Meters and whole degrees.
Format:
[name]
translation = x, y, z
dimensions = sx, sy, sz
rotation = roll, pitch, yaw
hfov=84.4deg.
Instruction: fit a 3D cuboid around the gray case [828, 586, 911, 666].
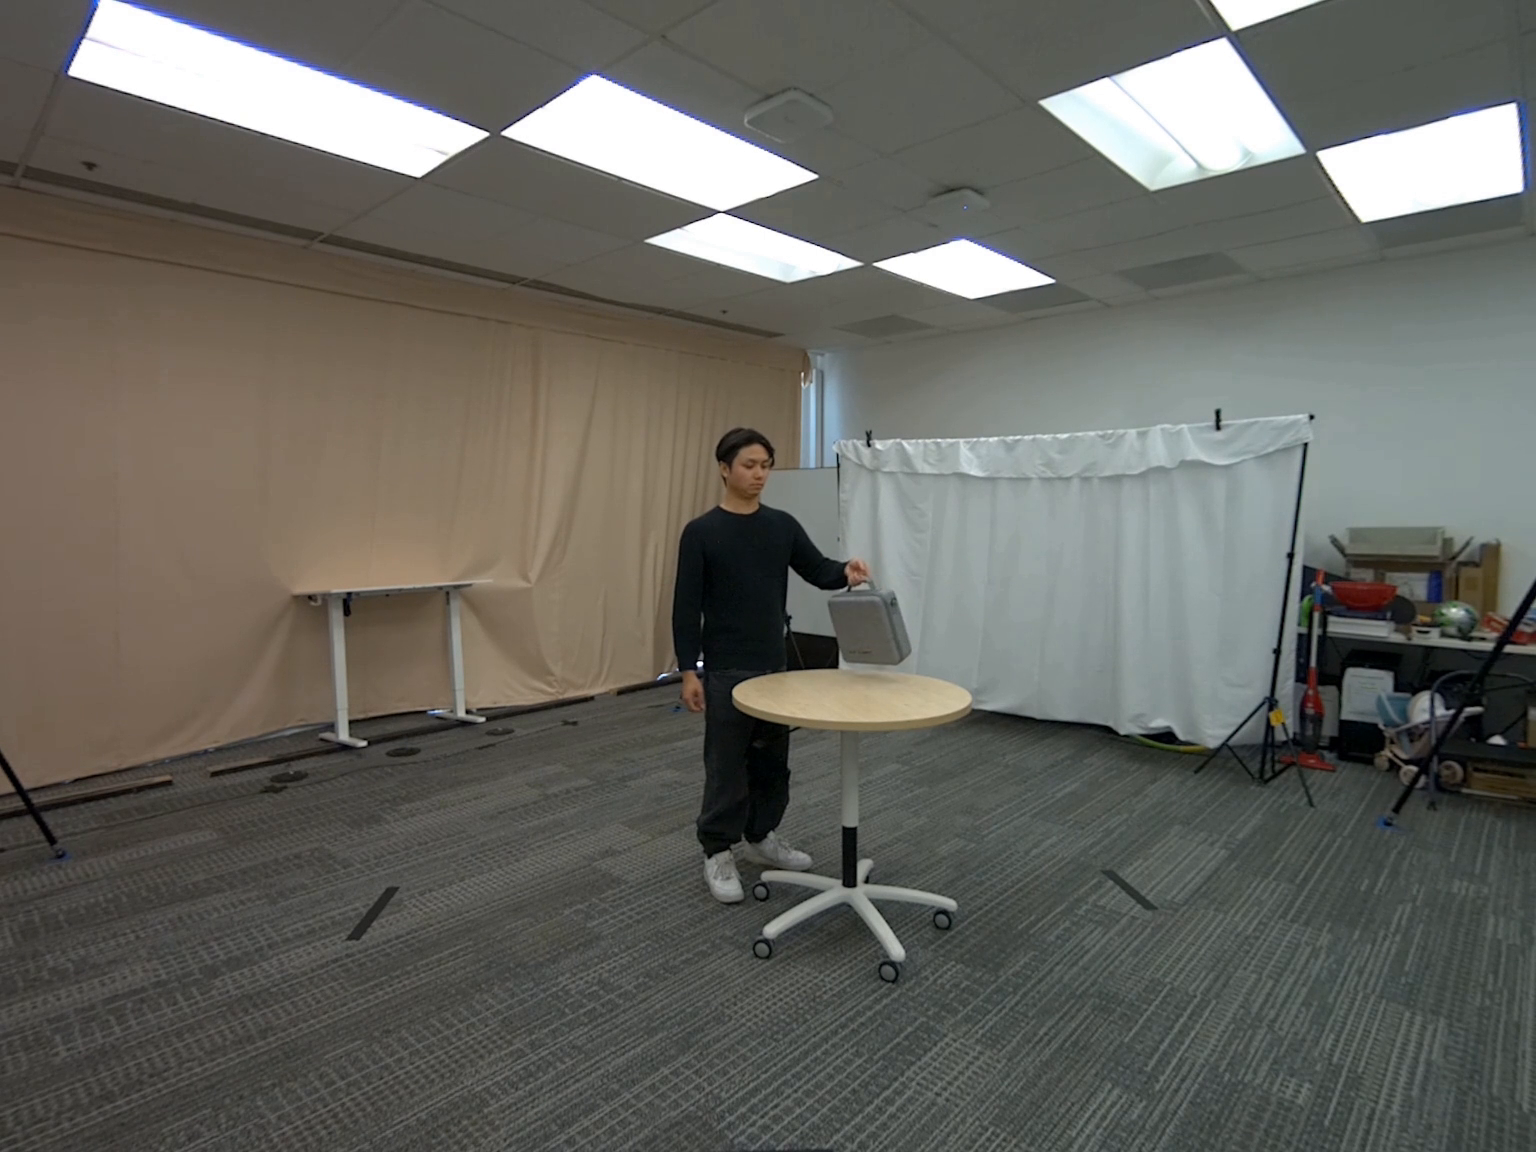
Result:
[gray case]
translation = 0.346, 0.173, 2.913
dimensions = 0.102, 0.258, 0.264
rotation = -22, 12, -38
